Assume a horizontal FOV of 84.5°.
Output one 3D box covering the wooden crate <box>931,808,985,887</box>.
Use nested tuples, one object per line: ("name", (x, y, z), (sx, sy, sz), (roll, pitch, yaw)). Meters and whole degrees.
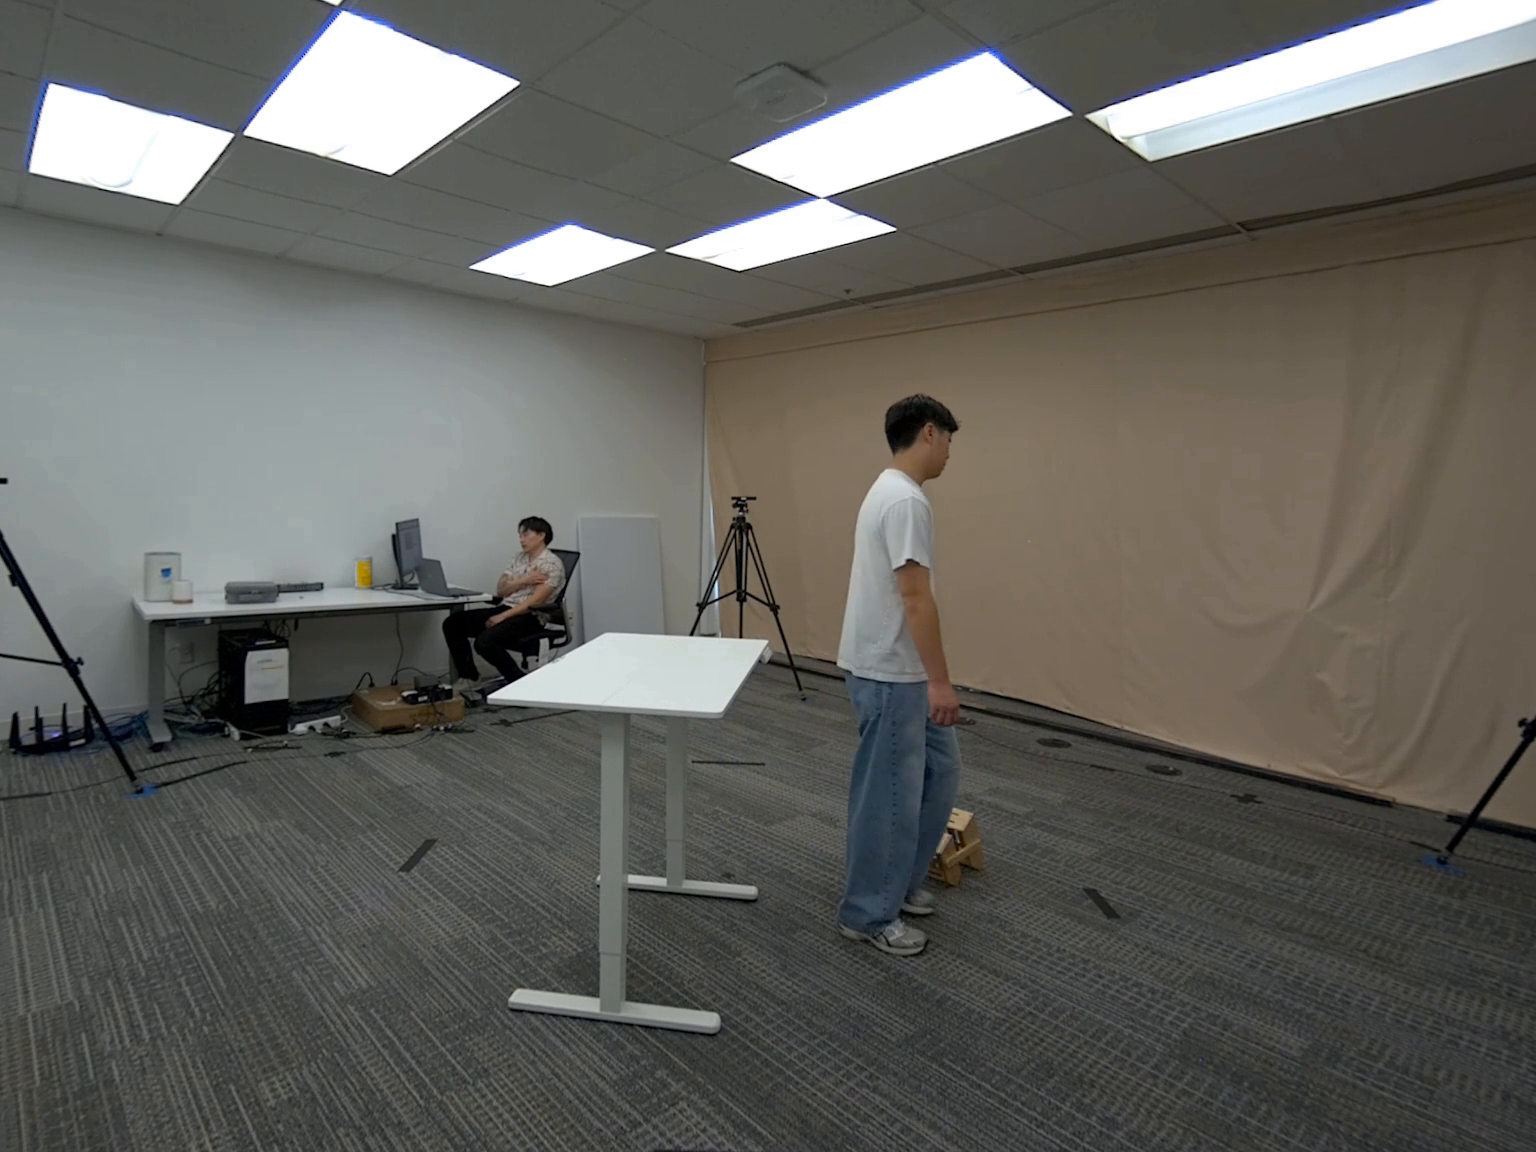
("wooden crate", (0.598, 1.031, 3.192), (0.332, 0.296, 0.272), (5, 33, 40))
